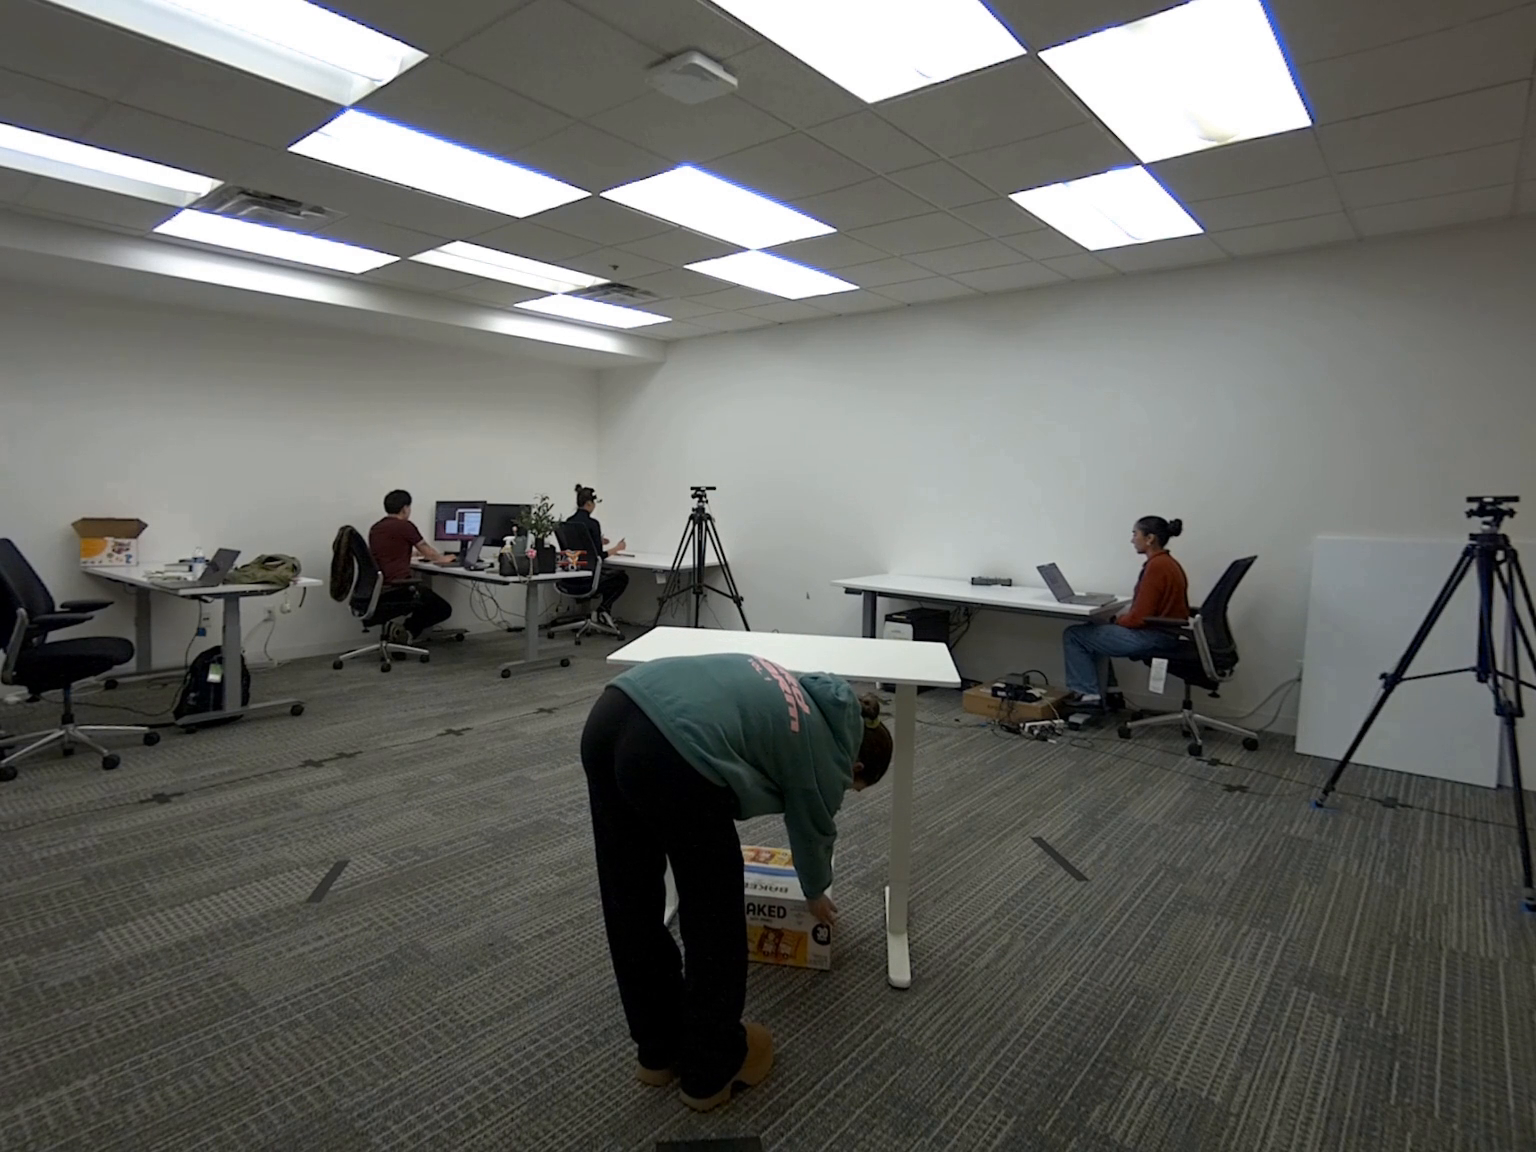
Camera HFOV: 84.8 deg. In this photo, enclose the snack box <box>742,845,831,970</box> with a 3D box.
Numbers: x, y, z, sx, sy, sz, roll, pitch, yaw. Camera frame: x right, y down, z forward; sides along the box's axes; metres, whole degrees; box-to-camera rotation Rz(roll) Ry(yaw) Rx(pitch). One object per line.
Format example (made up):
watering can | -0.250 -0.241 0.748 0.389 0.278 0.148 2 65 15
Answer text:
snack box | -0.011 1.011 2.636 0.409 0.205 0.338 2 5 7
